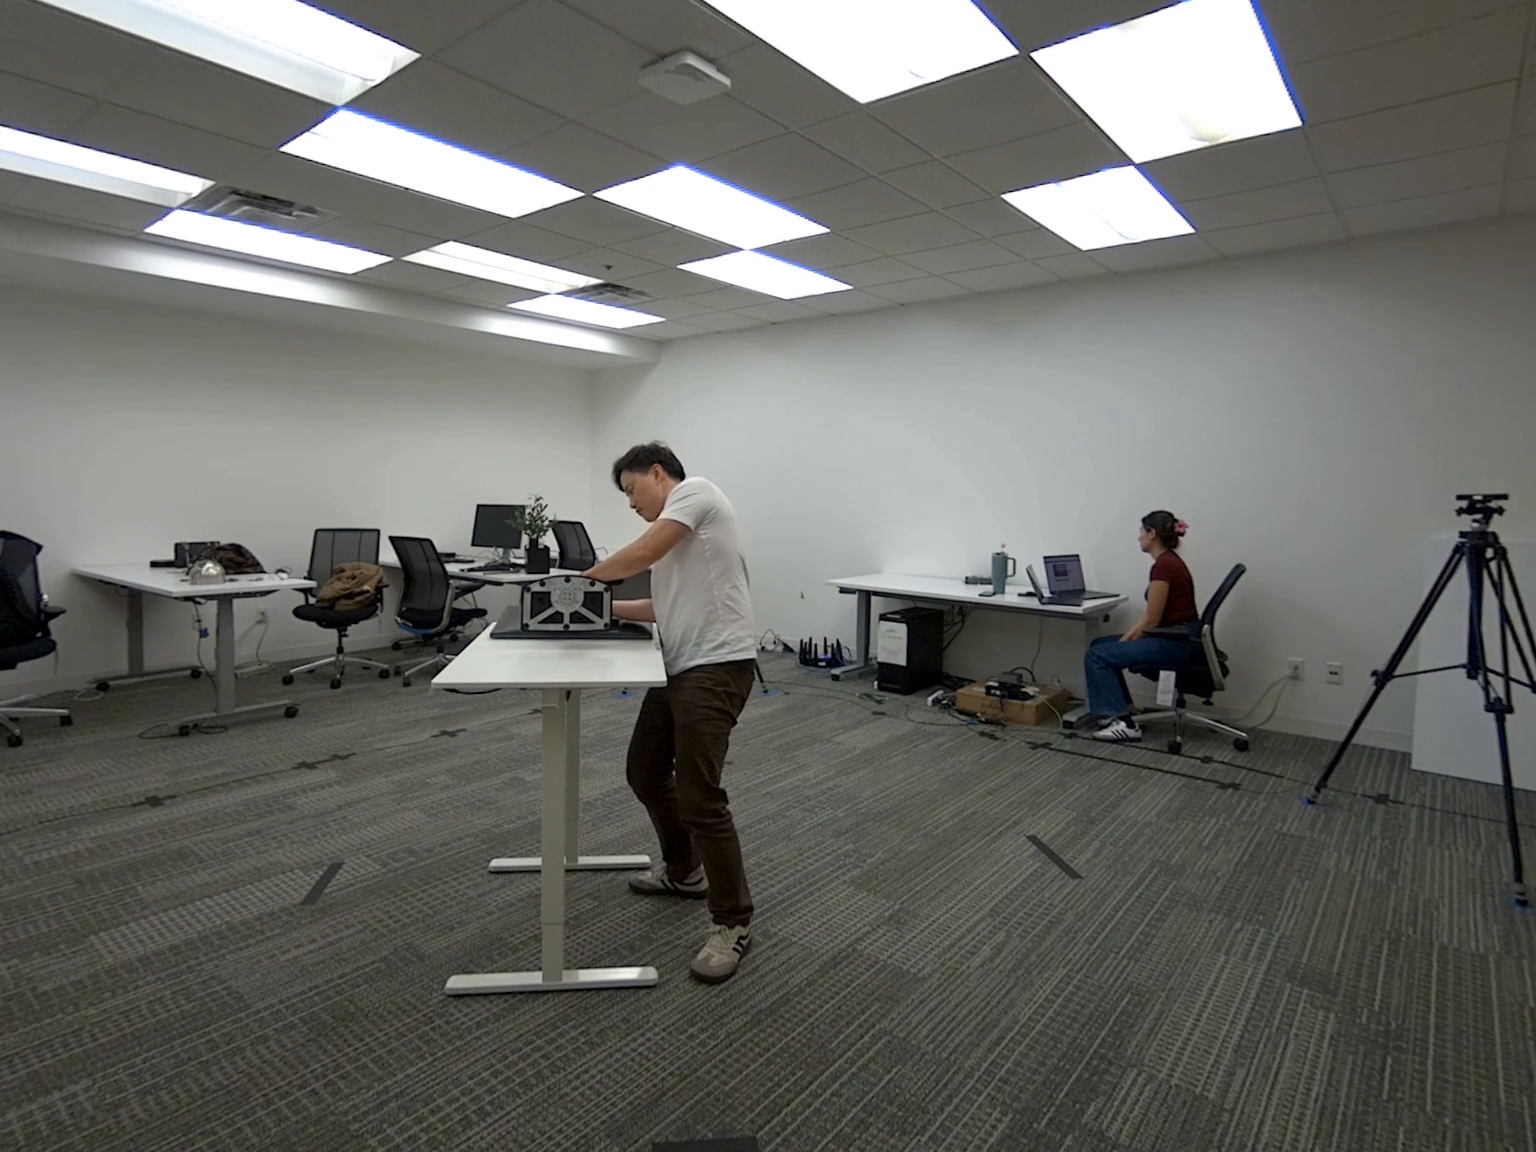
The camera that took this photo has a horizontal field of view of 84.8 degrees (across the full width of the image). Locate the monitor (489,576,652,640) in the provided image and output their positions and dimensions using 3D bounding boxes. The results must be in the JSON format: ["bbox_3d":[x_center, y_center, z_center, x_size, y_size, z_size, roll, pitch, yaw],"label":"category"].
[{"bbox_3d":[-0.668,0.115,2.896,0.536,0.188,0.521,1,-7,-6],"label":"monitor"}]
